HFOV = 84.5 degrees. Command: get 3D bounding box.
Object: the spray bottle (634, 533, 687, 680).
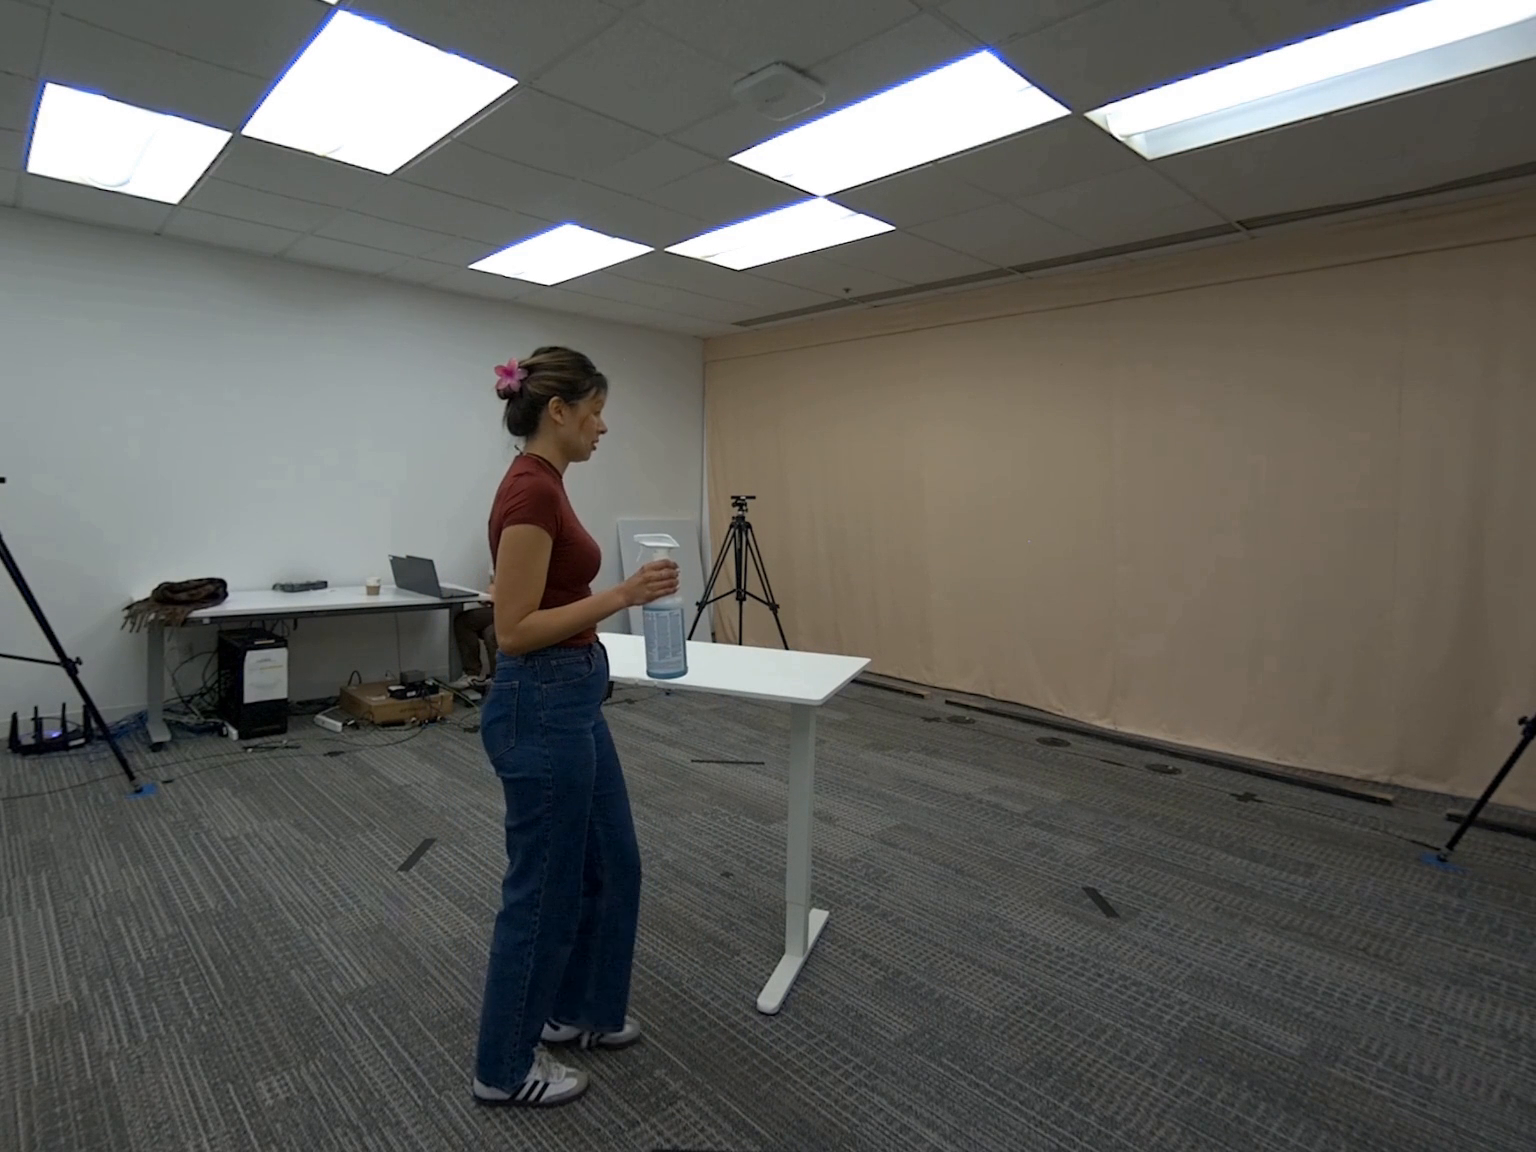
[{"bbox_3d":[-0.222,0.063,1.718,0.091,0.296,0.086,-2,4,17],"label":"spray bottle"}]
